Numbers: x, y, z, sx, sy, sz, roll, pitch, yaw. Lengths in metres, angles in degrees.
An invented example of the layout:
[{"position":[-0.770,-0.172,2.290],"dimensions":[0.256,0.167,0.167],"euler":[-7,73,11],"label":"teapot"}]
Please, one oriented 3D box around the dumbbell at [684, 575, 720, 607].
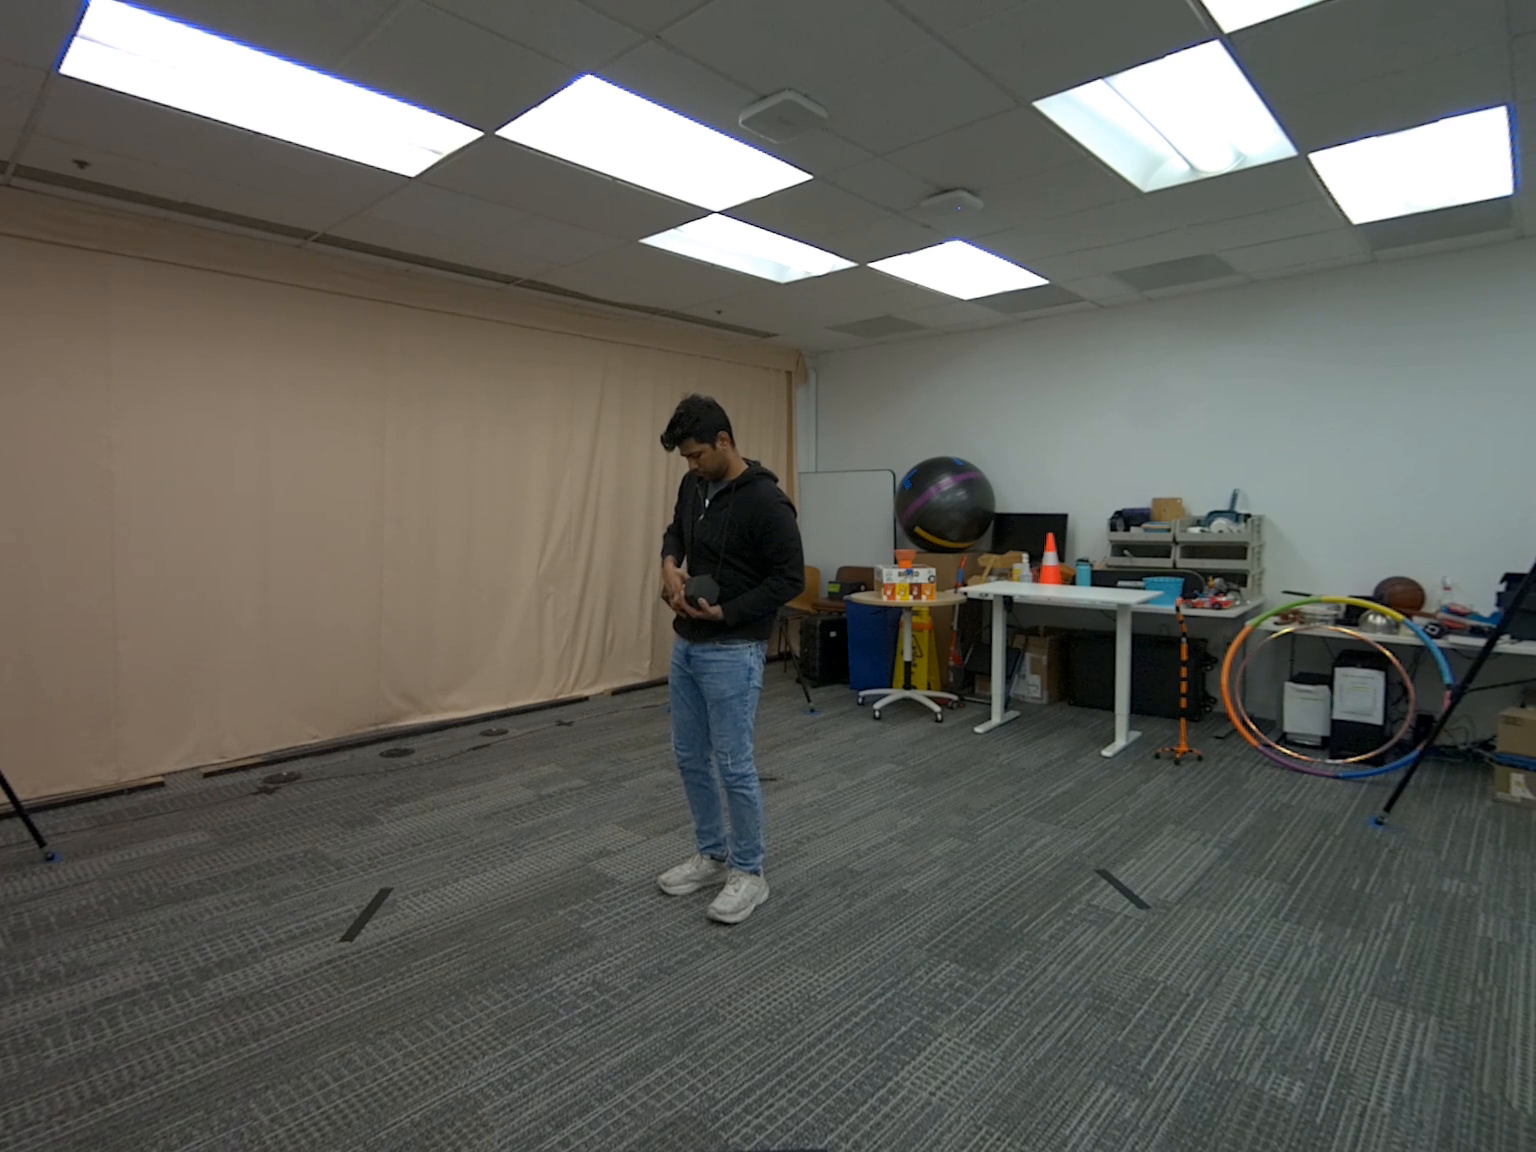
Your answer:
[{"position":[-0.255,0.061,2.894],"dimensions":[0.106,0.123,0.300],"euler":[20,-13,-23],"label":"dumbbell"}]
